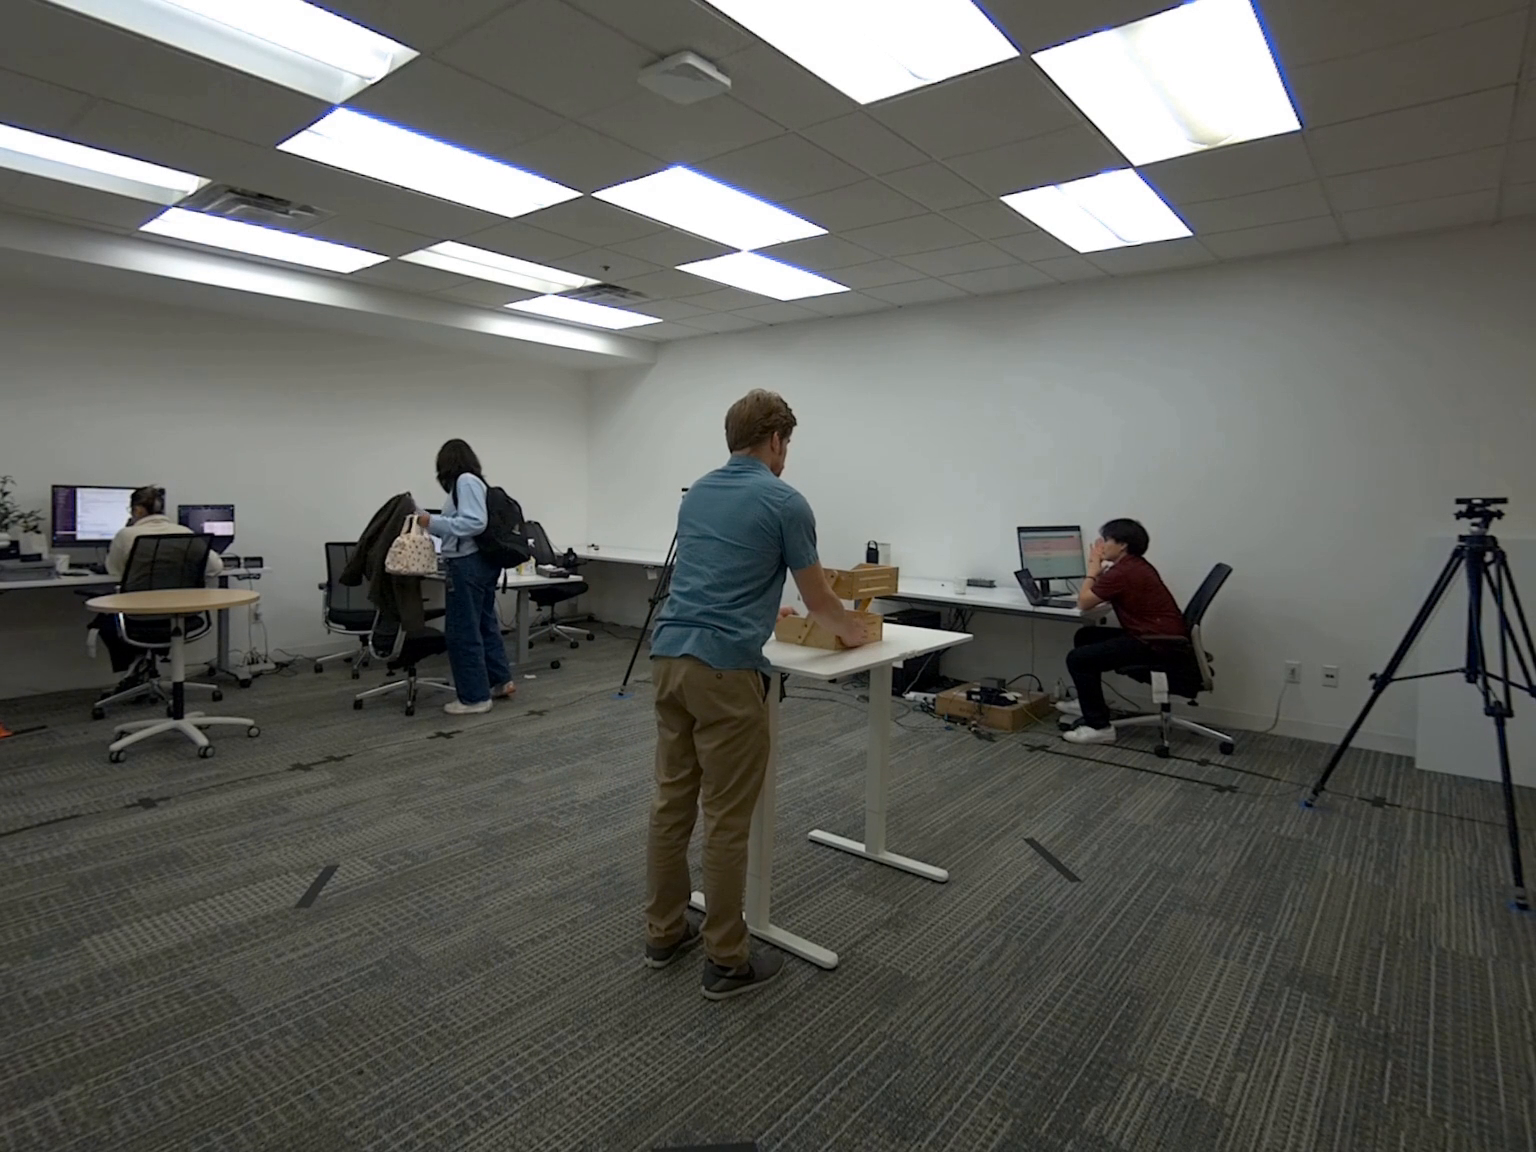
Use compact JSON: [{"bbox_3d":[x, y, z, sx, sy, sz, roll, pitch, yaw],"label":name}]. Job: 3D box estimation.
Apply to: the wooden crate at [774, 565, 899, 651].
[{"bbox_3d":[0.225,0.087,2.874,0.312,0.272,0.315,6,6,39],"label":"wooden crate"}]
